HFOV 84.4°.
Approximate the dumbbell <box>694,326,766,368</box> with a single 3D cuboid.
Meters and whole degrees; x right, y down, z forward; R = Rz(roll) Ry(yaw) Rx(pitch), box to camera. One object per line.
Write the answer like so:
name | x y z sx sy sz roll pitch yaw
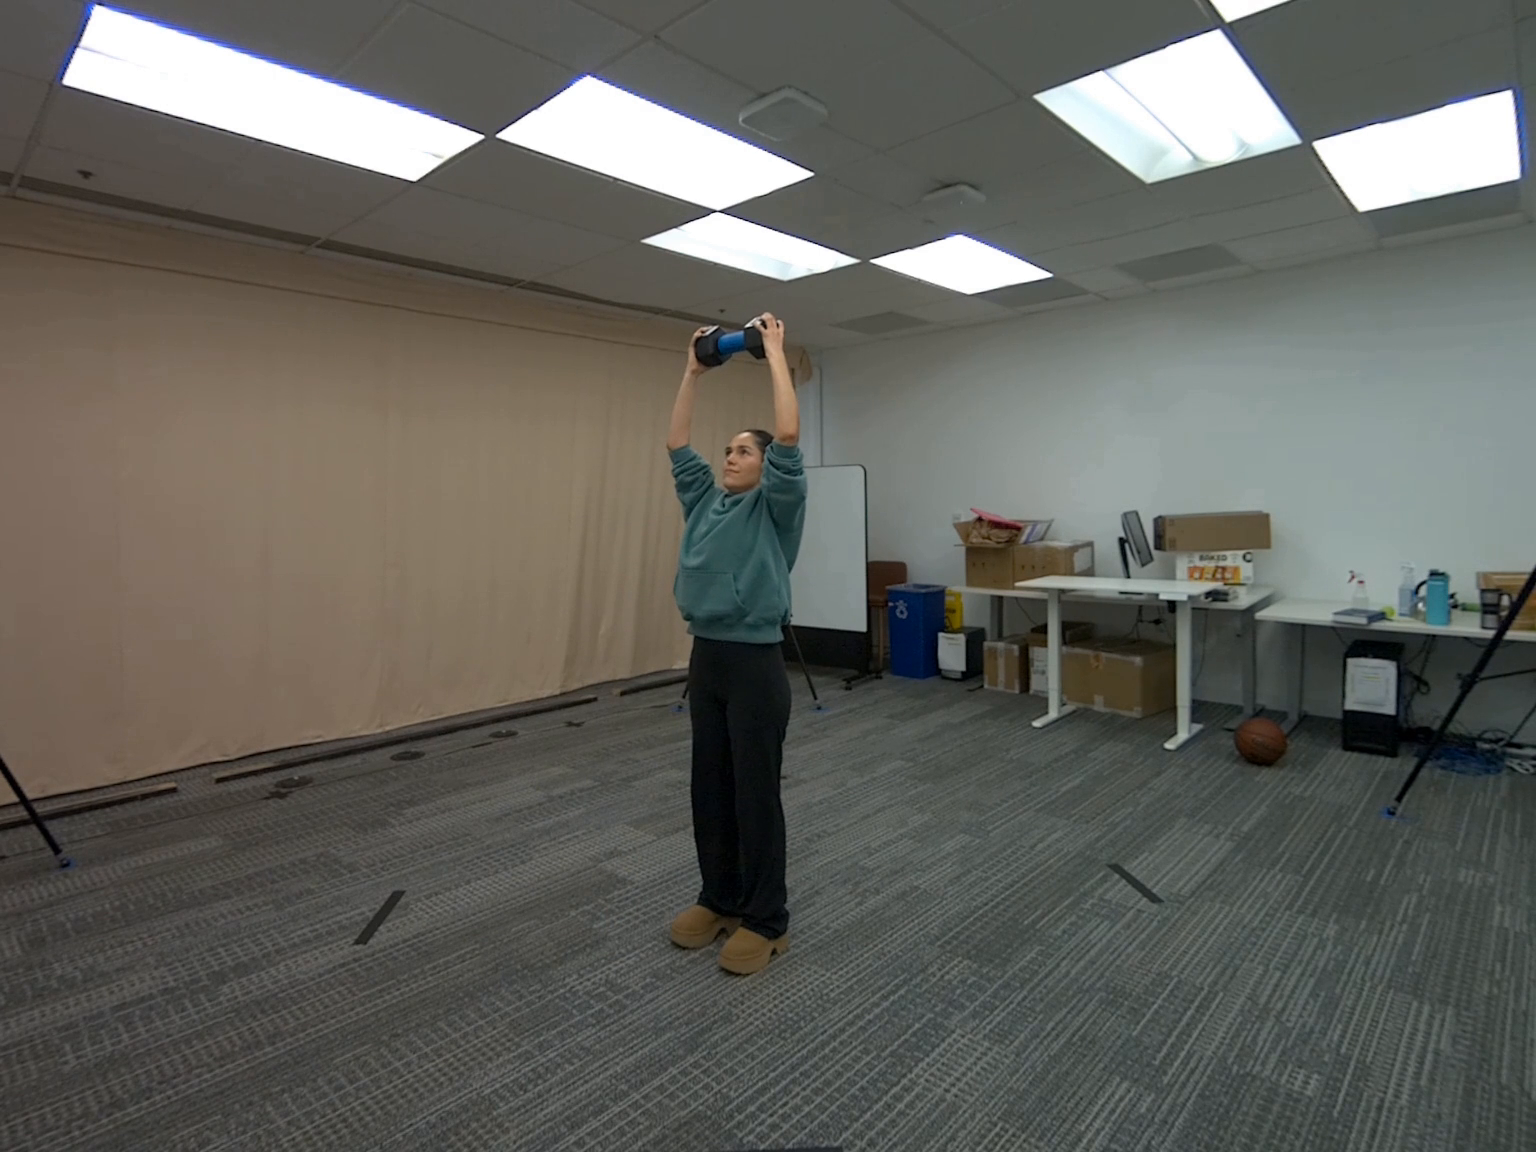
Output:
dumbbell | -0.085 -0.722 2.602 0.303 0.122 0.105 4 9 43
